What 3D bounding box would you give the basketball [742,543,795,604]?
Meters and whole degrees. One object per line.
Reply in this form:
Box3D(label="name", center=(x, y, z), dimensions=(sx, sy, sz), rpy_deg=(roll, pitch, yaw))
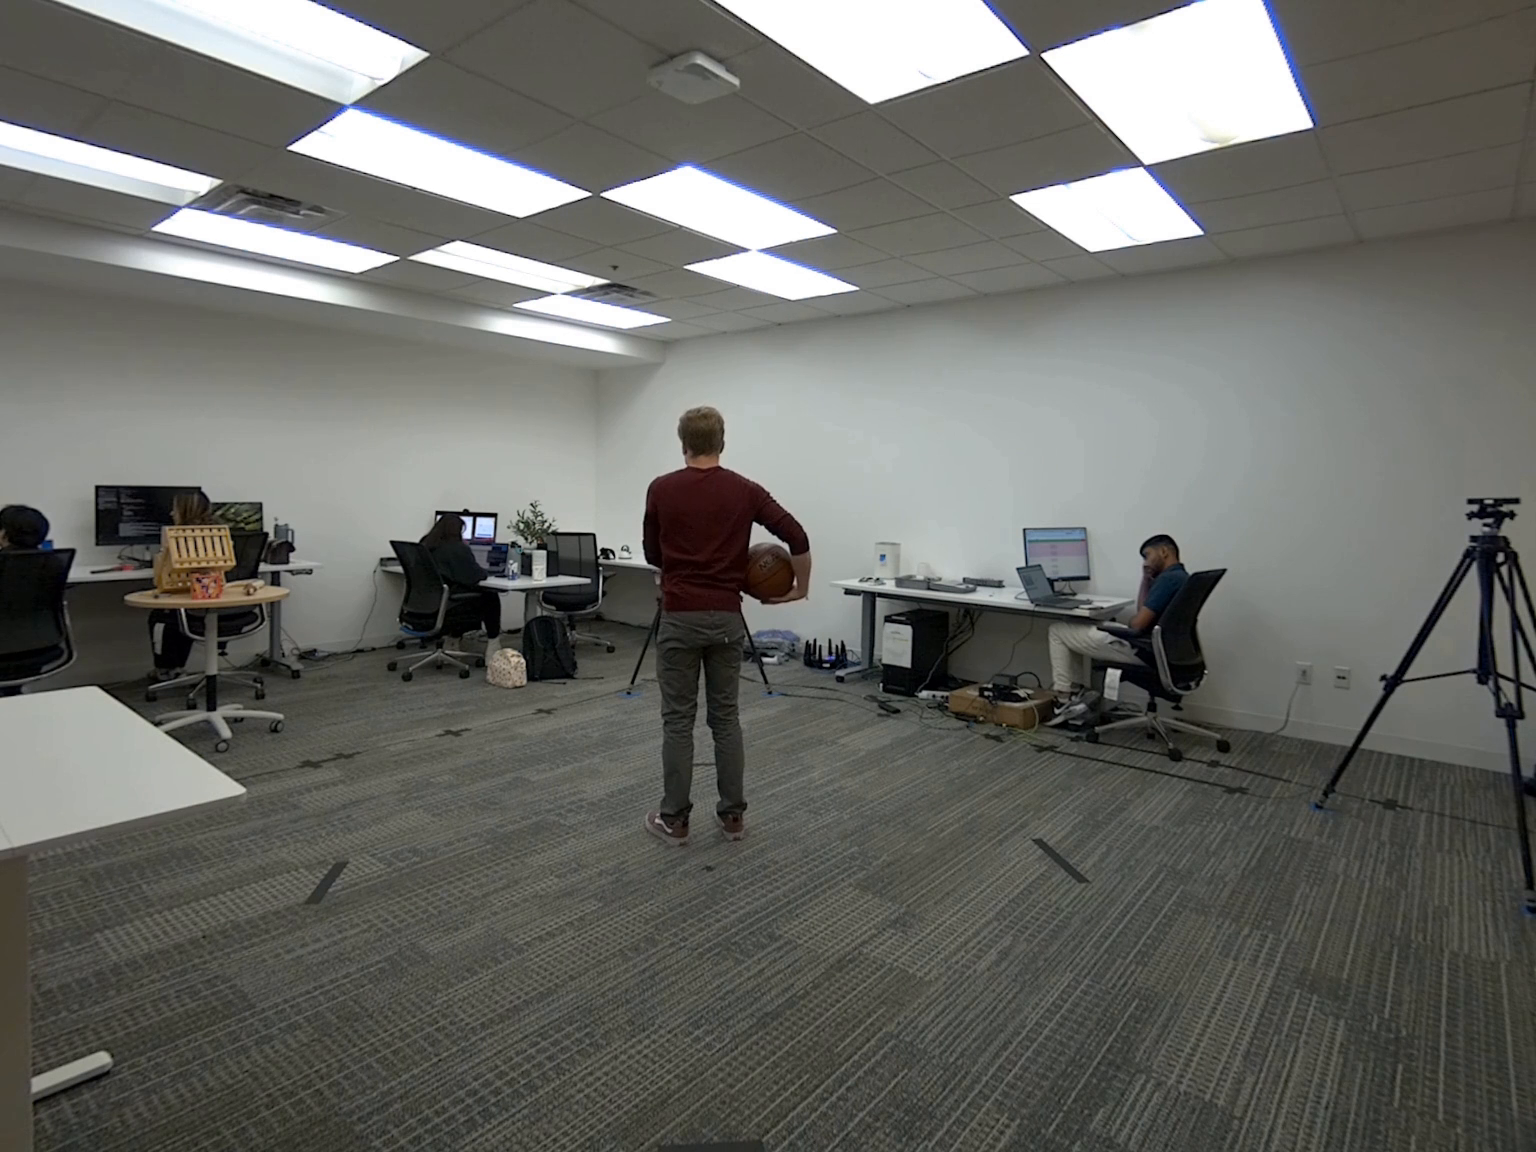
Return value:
Box3D(label="basketball", center=(-0.019, -0.018, 3.483), dimensions=(0.235, 0.235, 0.237), rpy_deg=(1, 4, -2))
